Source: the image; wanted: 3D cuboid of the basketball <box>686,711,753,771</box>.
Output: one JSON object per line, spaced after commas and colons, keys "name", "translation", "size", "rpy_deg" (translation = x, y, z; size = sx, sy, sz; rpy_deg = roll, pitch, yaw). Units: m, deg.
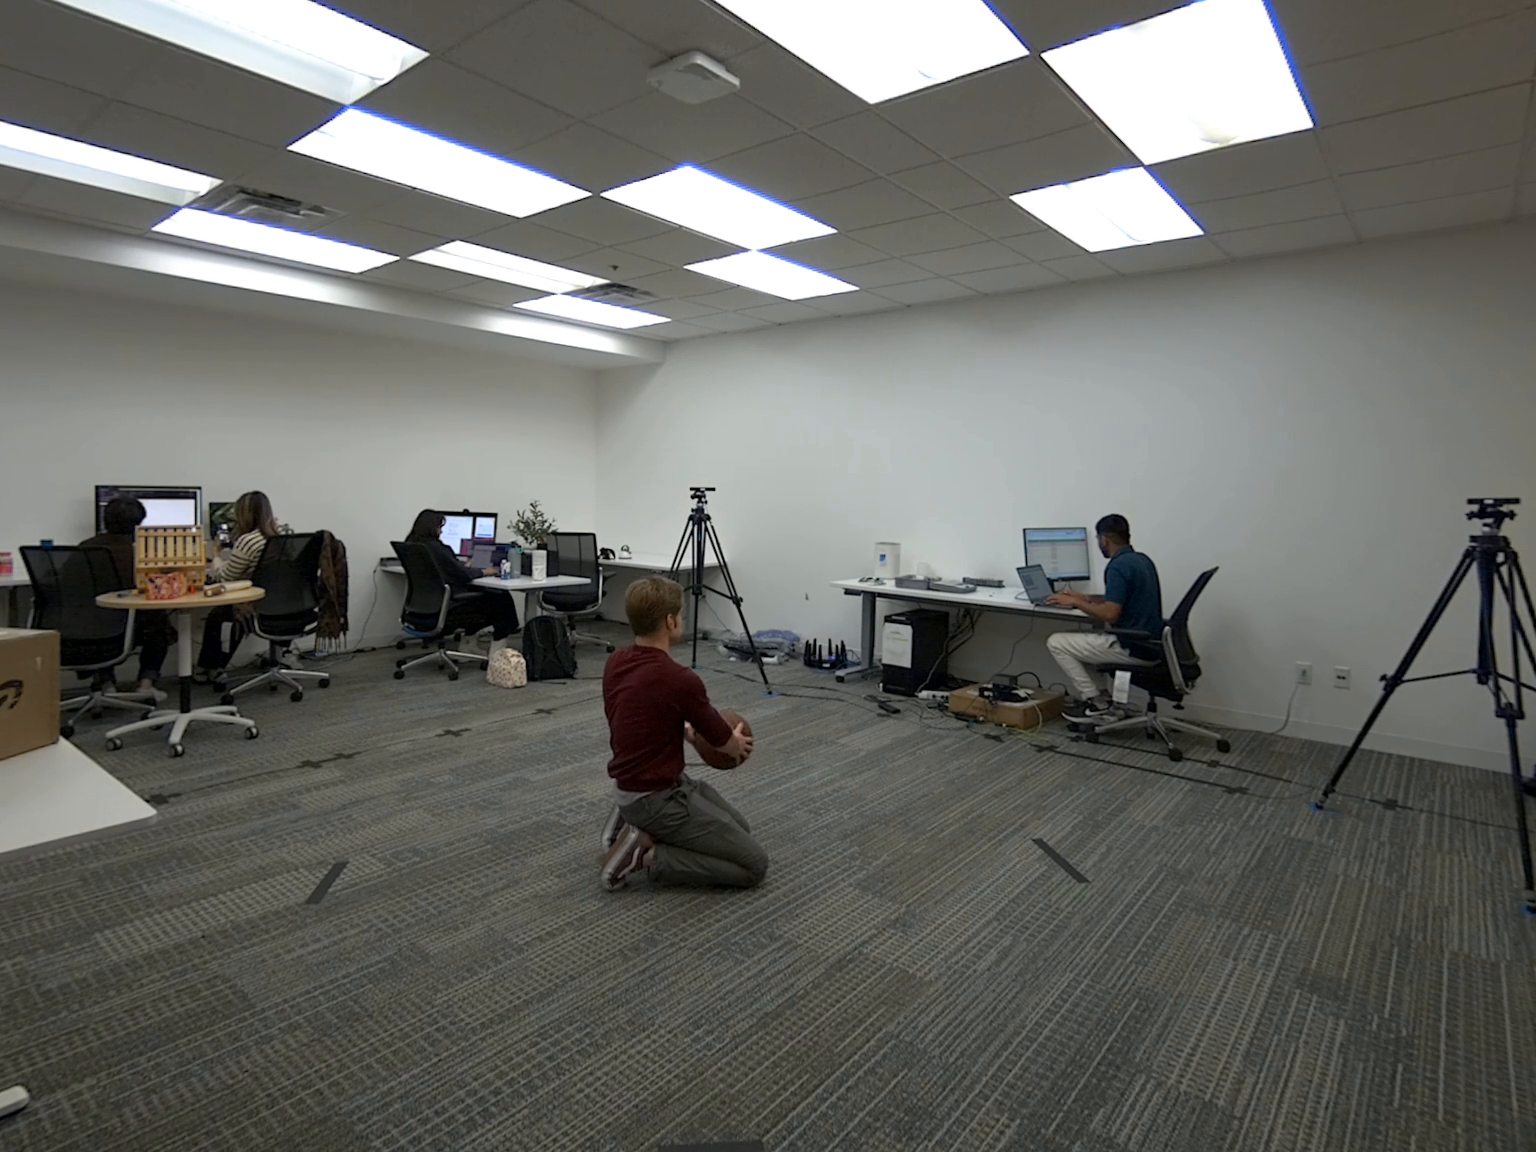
{"name": "basketball", "translation": [-0.188, 0.679, 3.514], "size": [0.235, 0.235, 0.237], "rpy_deg": [1, 4, -2]}
